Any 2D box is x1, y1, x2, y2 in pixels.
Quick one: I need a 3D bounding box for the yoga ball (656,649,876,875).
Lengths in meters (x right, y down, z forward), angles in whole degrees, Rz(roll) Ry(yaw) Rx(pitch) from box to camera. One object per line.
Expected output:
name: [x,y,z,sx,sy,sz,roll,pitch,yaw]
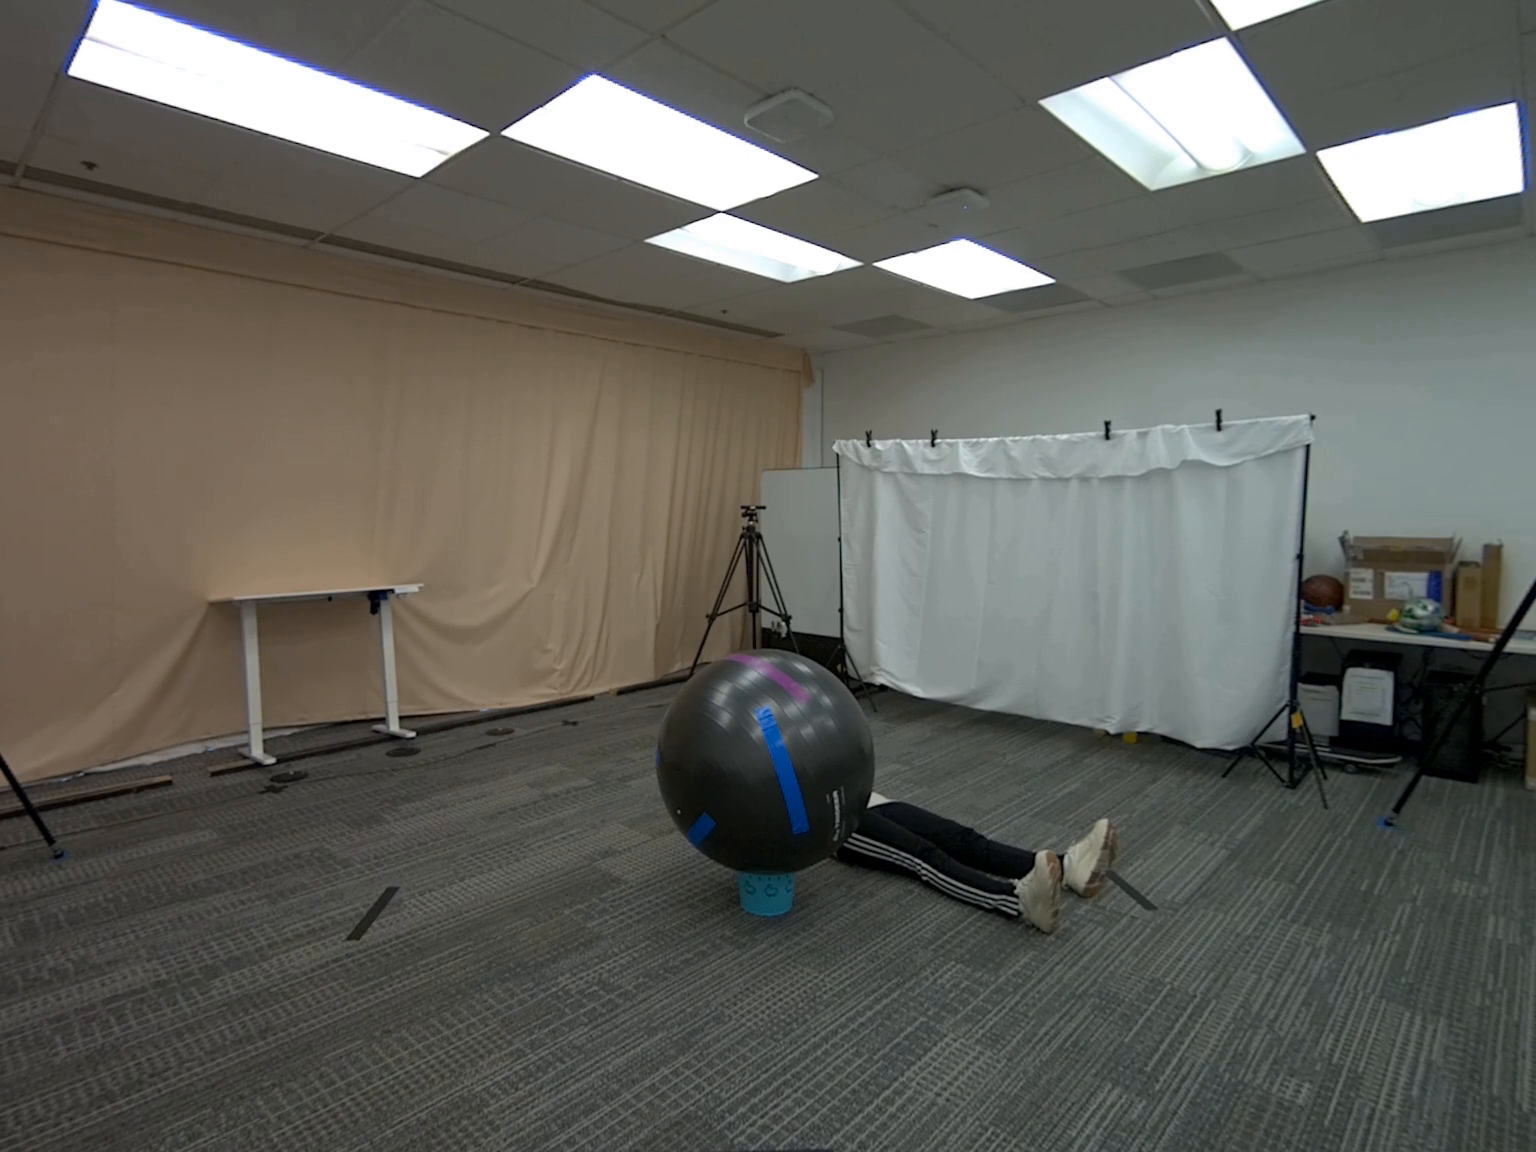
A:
yoga ball: [-0.005,0.636,2.931,0.757,0.756,0.760,0,4,-2]
